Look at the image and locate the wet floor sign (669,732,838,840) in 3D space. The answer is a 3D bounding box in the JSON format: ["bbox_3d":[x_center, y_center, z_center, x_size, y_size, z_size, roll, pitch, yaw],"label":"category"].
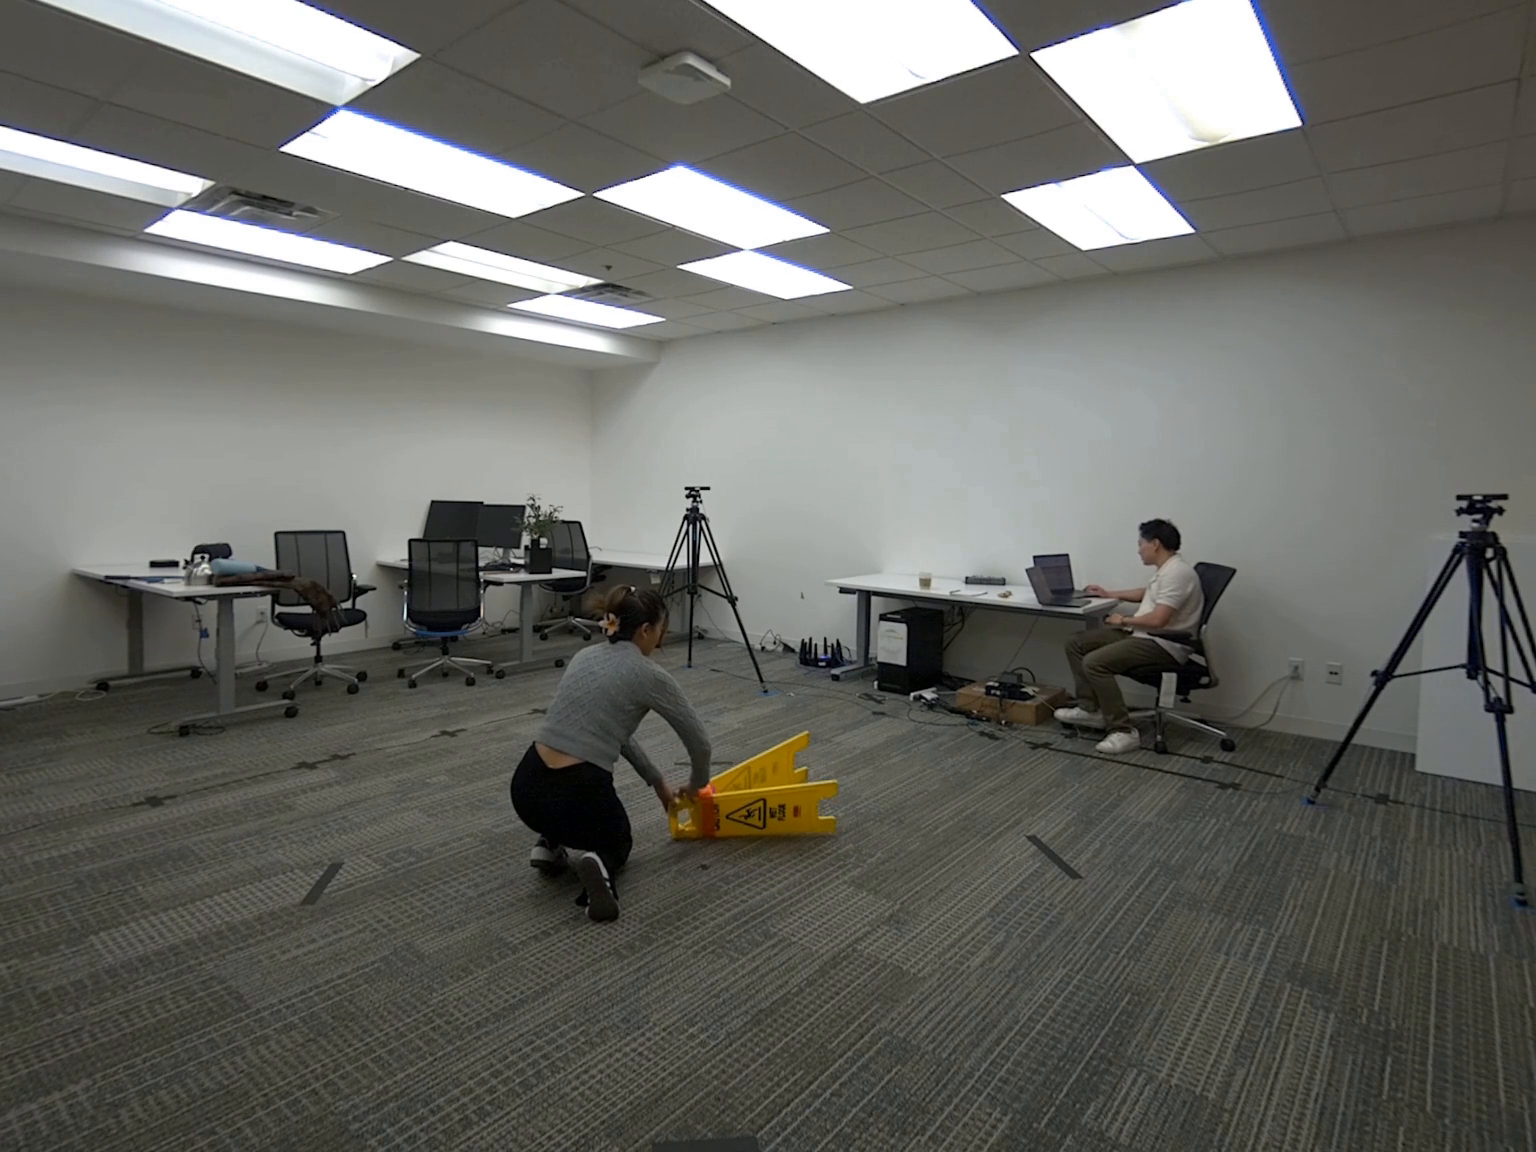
[{"bbox_3d":[-0.097,0.894,3.403,0.638,0.275,0.301,-10,32,-15],"label":"wet floor sign"}]
